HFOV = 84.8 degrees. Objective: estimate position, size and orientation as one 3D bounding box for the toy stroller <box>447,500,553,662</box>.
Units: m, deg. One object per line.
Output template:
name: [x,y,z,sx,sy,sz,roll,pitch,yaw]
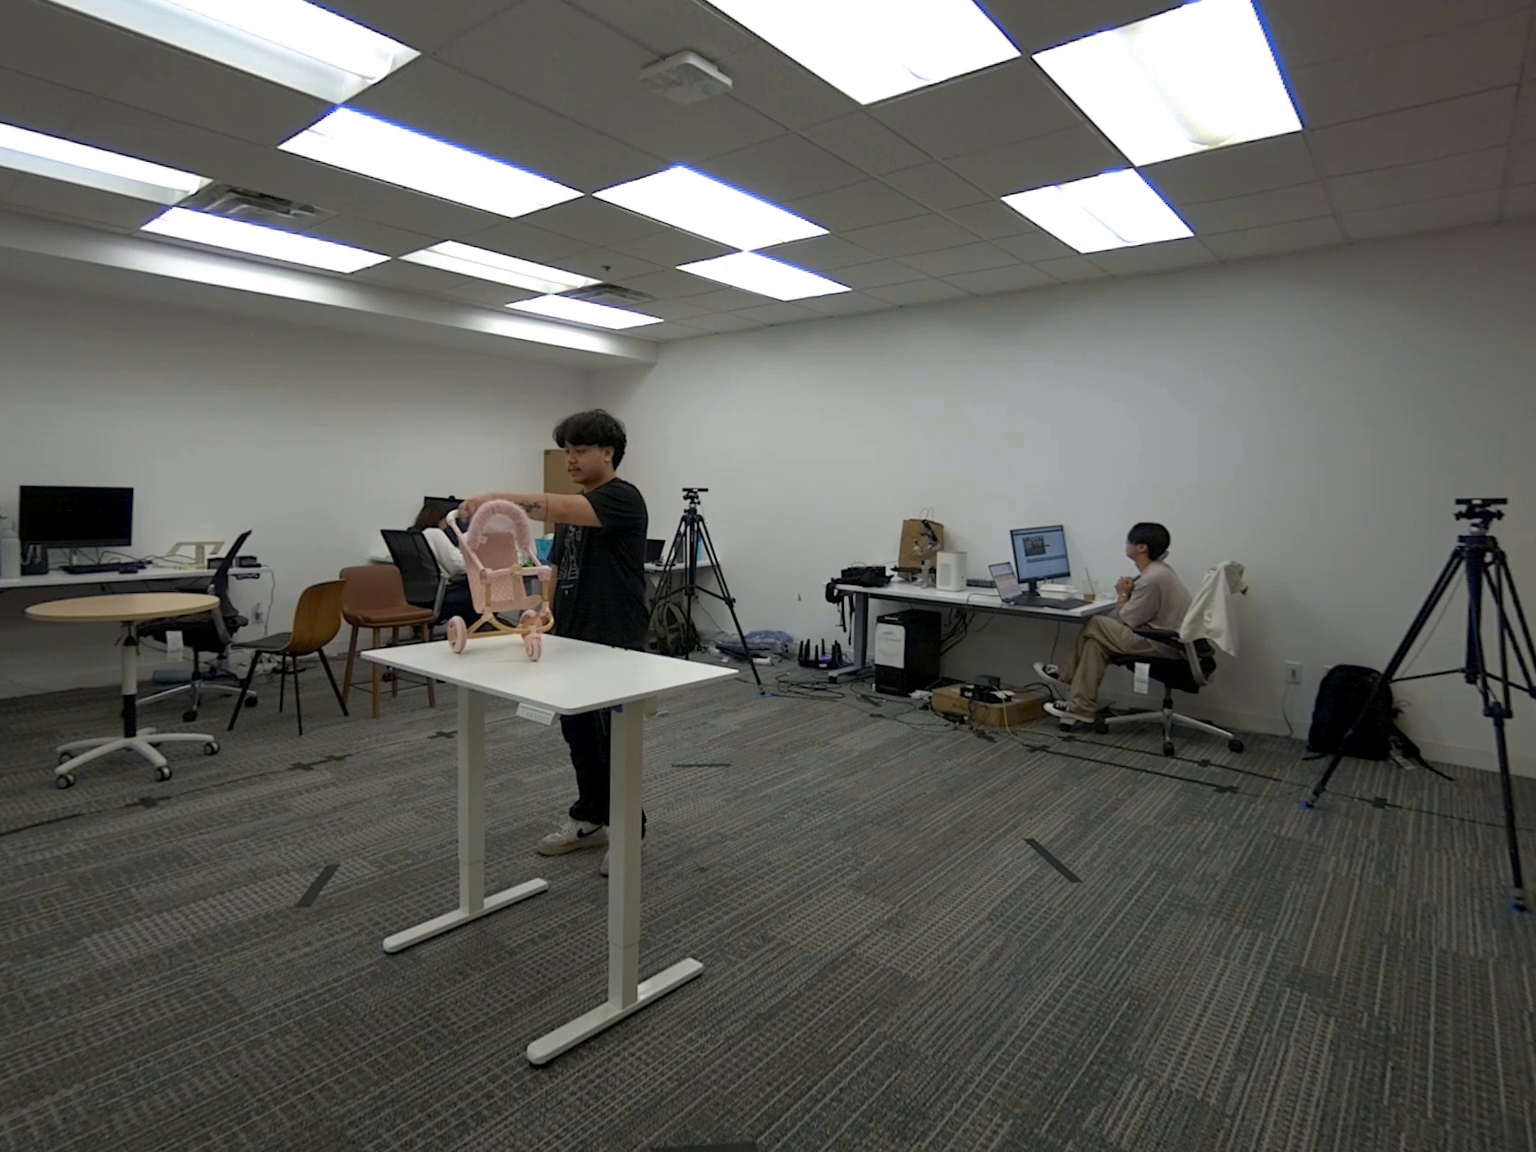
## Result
toy stroller: [-0.825,0.005,2.587,0.273,0.540,0.348,-3,-11,-36]
